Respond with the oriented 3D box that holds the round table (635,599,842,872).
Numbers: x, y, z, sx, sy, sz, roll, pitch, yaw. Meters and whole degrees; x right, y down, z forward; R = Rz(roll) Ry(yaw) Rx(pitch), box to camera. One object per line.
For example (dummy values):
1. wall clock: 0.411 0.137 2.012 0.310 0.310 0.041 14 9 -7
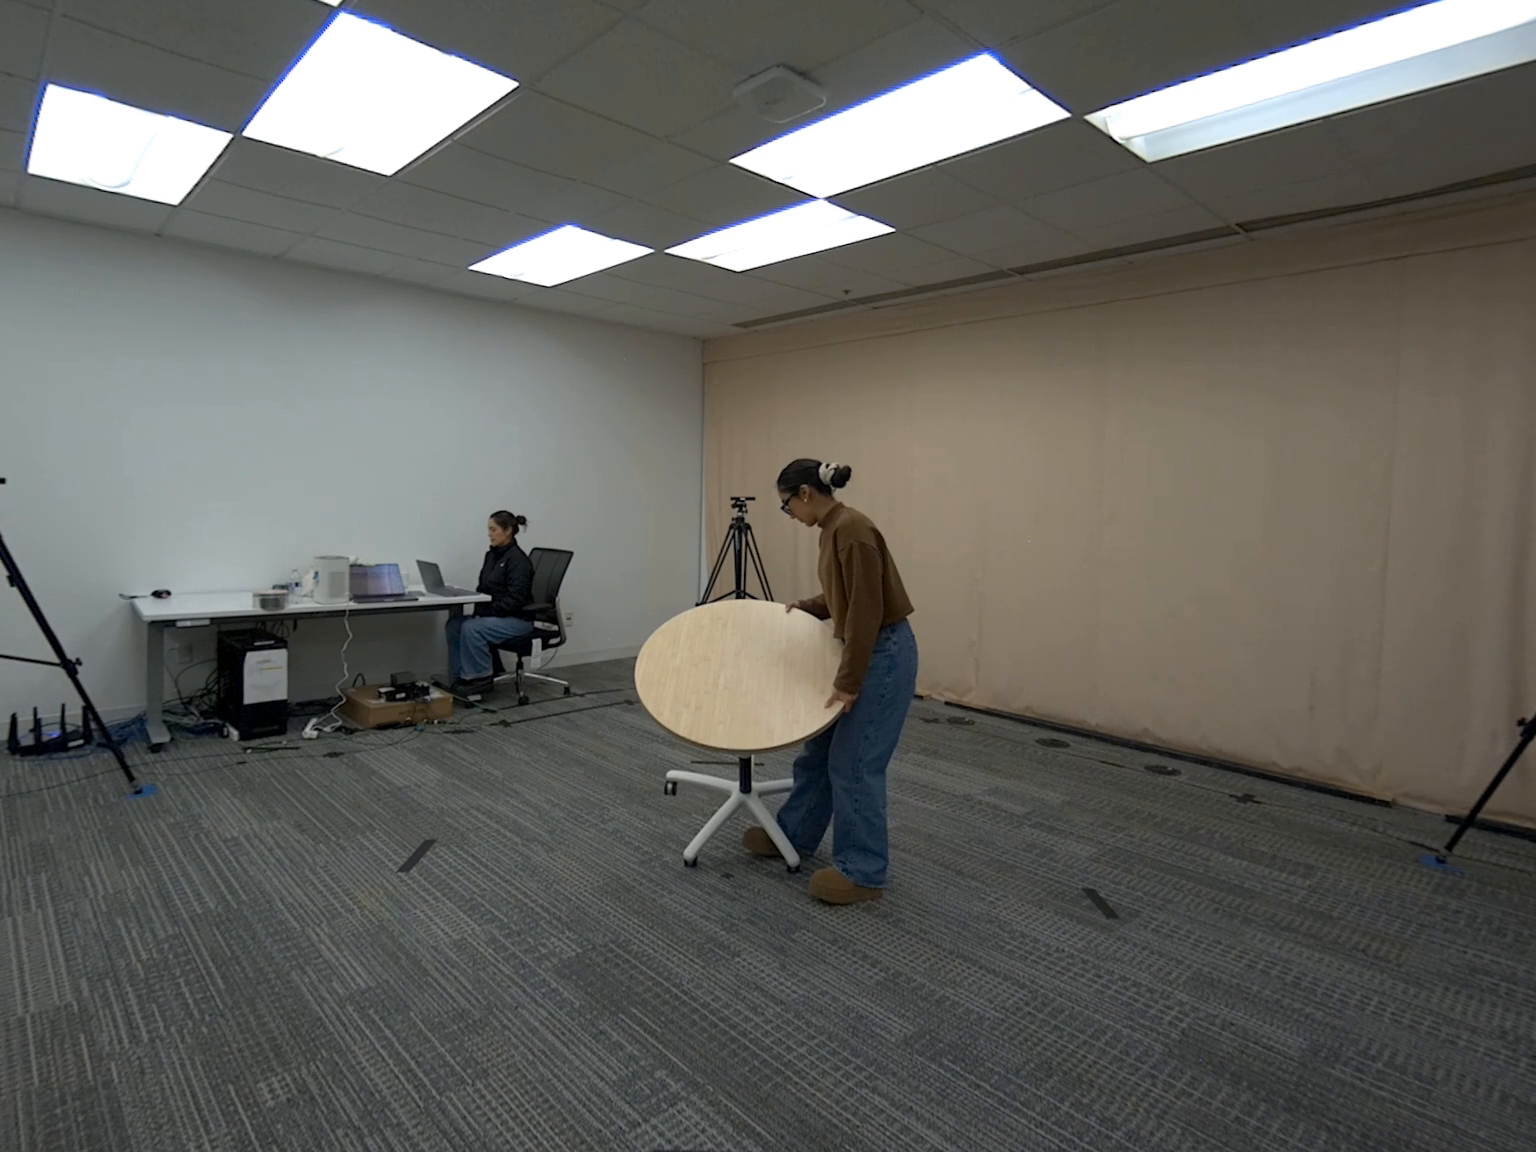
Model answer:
1. round table: -0.093 0.637 3.179 0.764 0.777 0.780 -1 34 -1
